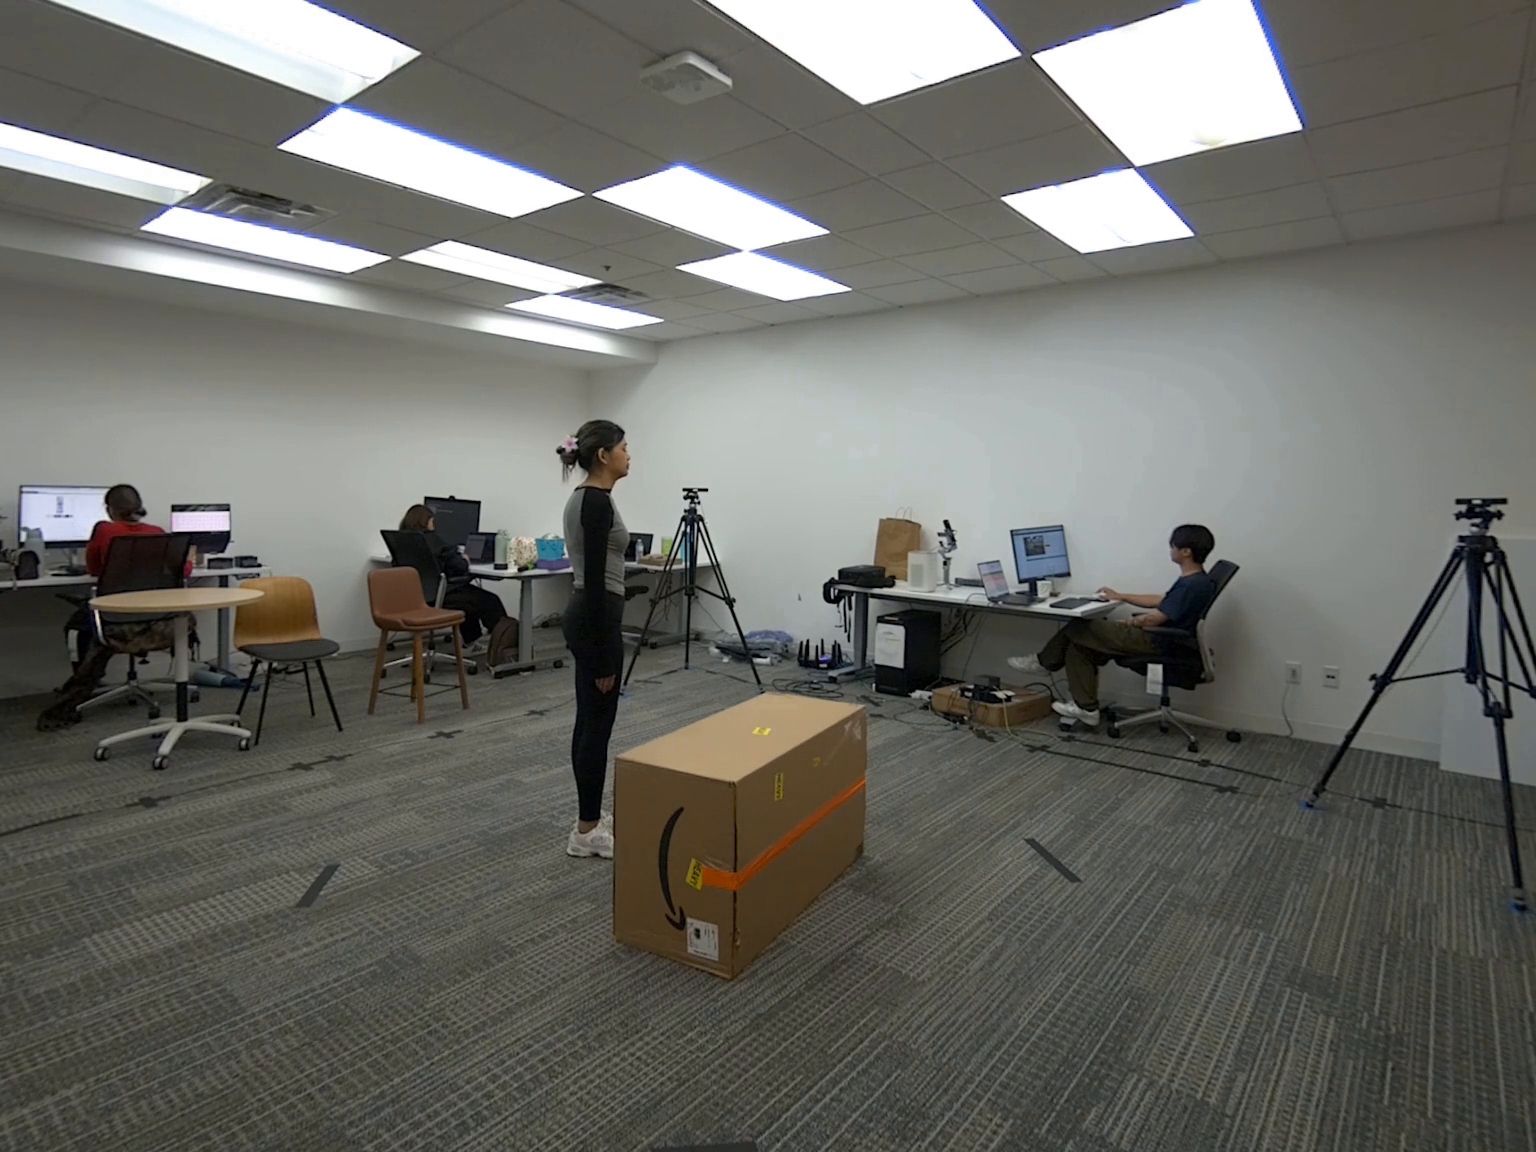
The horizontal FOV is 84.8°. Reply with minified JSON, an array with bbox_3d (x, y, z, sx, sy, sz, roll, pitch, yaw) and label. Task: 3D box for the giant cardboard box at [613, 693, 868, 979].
[{"bbox_3d":[-0.055,0.806,2.919,0.438,0.576,1.000,2,5,29],"label":"giant cardboard box"}]
